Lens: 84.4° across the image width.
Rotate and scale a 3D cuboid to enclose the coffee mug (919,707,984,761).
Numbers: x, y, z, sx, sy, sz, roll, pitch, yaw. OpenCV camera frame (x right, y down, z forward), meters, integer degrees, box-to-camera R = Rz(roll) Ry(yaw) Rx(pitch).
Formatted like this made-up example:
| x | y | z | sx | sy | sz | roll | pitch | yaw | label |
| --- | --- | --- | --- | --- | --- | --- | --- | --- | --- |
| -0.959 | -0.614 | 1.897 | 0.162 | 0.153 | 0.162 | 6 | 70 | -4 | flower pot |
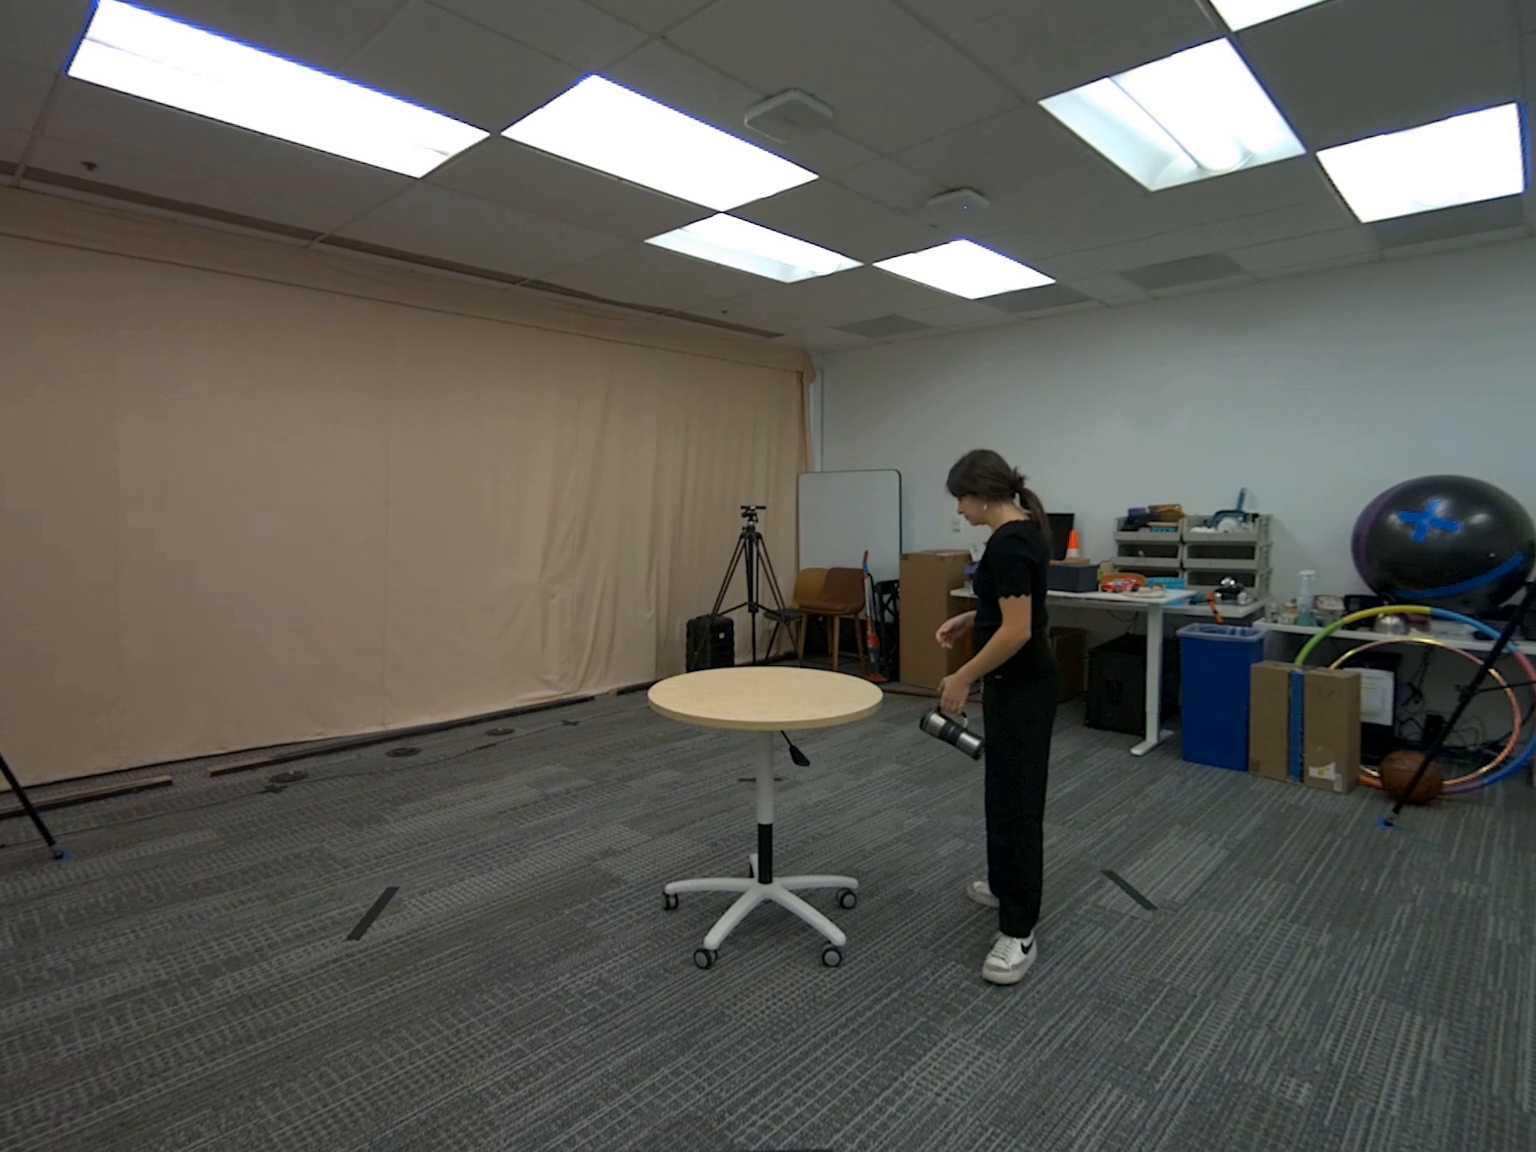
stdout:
| x | y | z | sx | sy | sz | roll | pitch | yaw | label |
| --- | --- | --- | --- | --- | --- | --- | --- | --- | --- |
| 0.601 | 0.487 | 2.653 | 0.210 | 0.120 | 0.086 | 28 | 46 | 31 | coffee mug |
